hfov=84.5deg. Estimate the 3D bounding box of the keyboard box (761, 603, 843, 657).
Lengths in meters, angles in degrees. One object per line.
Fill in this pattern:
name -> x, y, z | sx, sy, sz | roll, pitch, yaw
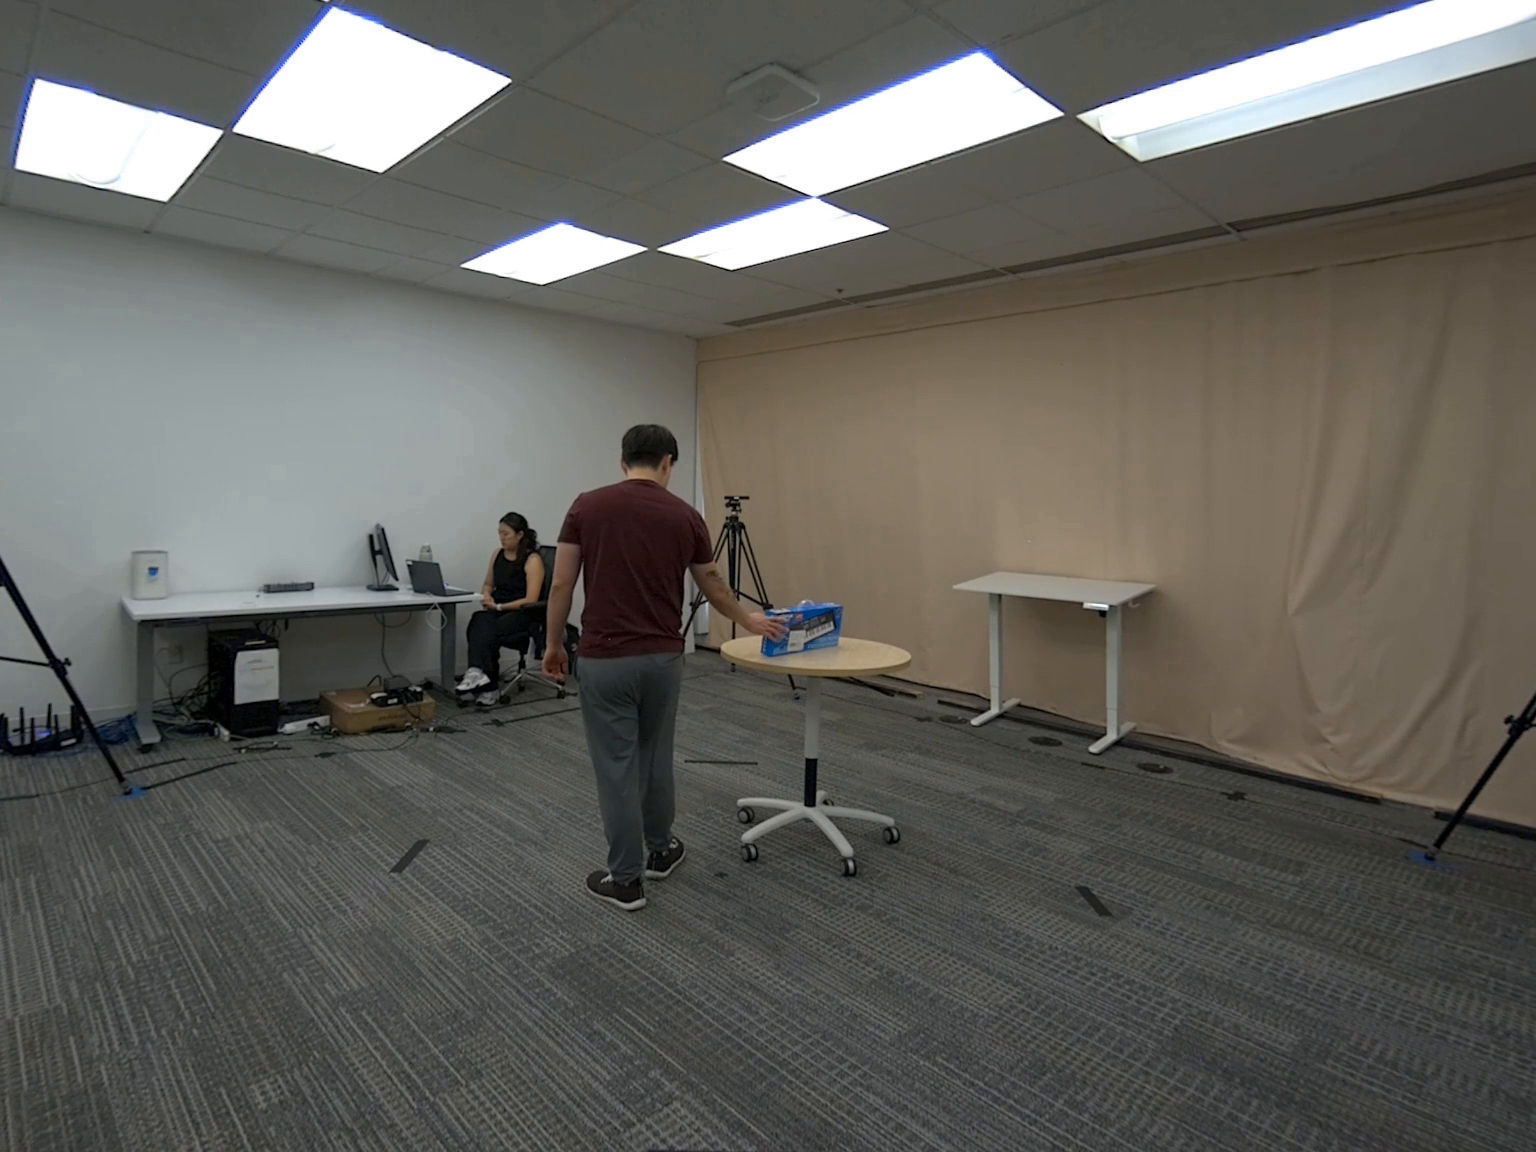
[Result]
keyboard box -> 0.139, 0.216, 3.406 | 0.061, 0.175, 0.427 | 13, 11, 40
